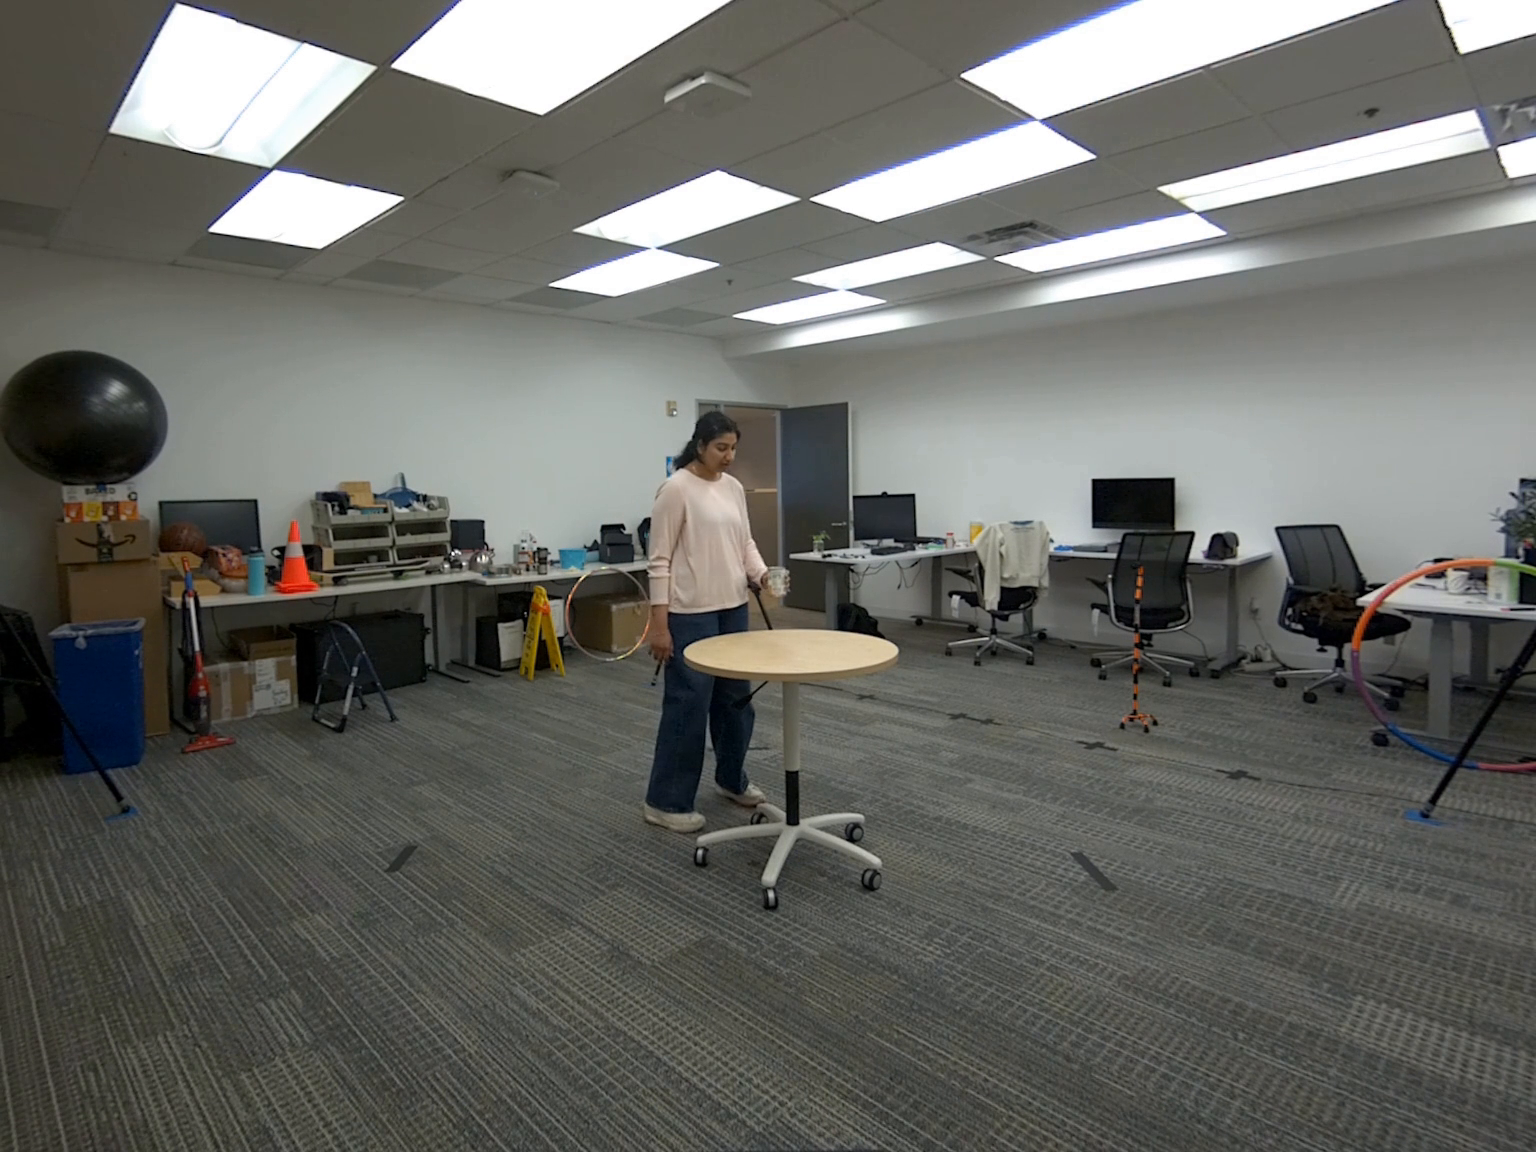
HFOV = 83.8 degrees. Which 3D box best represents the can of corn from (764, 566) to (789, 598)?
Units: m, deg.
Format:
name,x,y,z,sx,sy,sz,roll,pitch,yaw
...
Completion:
name,x,y,z,sx,sy,sz,roll,pitch,yaw
can of corn,0.026,0.023,3.428,0.074,0.110,0.074,0,5,-2
